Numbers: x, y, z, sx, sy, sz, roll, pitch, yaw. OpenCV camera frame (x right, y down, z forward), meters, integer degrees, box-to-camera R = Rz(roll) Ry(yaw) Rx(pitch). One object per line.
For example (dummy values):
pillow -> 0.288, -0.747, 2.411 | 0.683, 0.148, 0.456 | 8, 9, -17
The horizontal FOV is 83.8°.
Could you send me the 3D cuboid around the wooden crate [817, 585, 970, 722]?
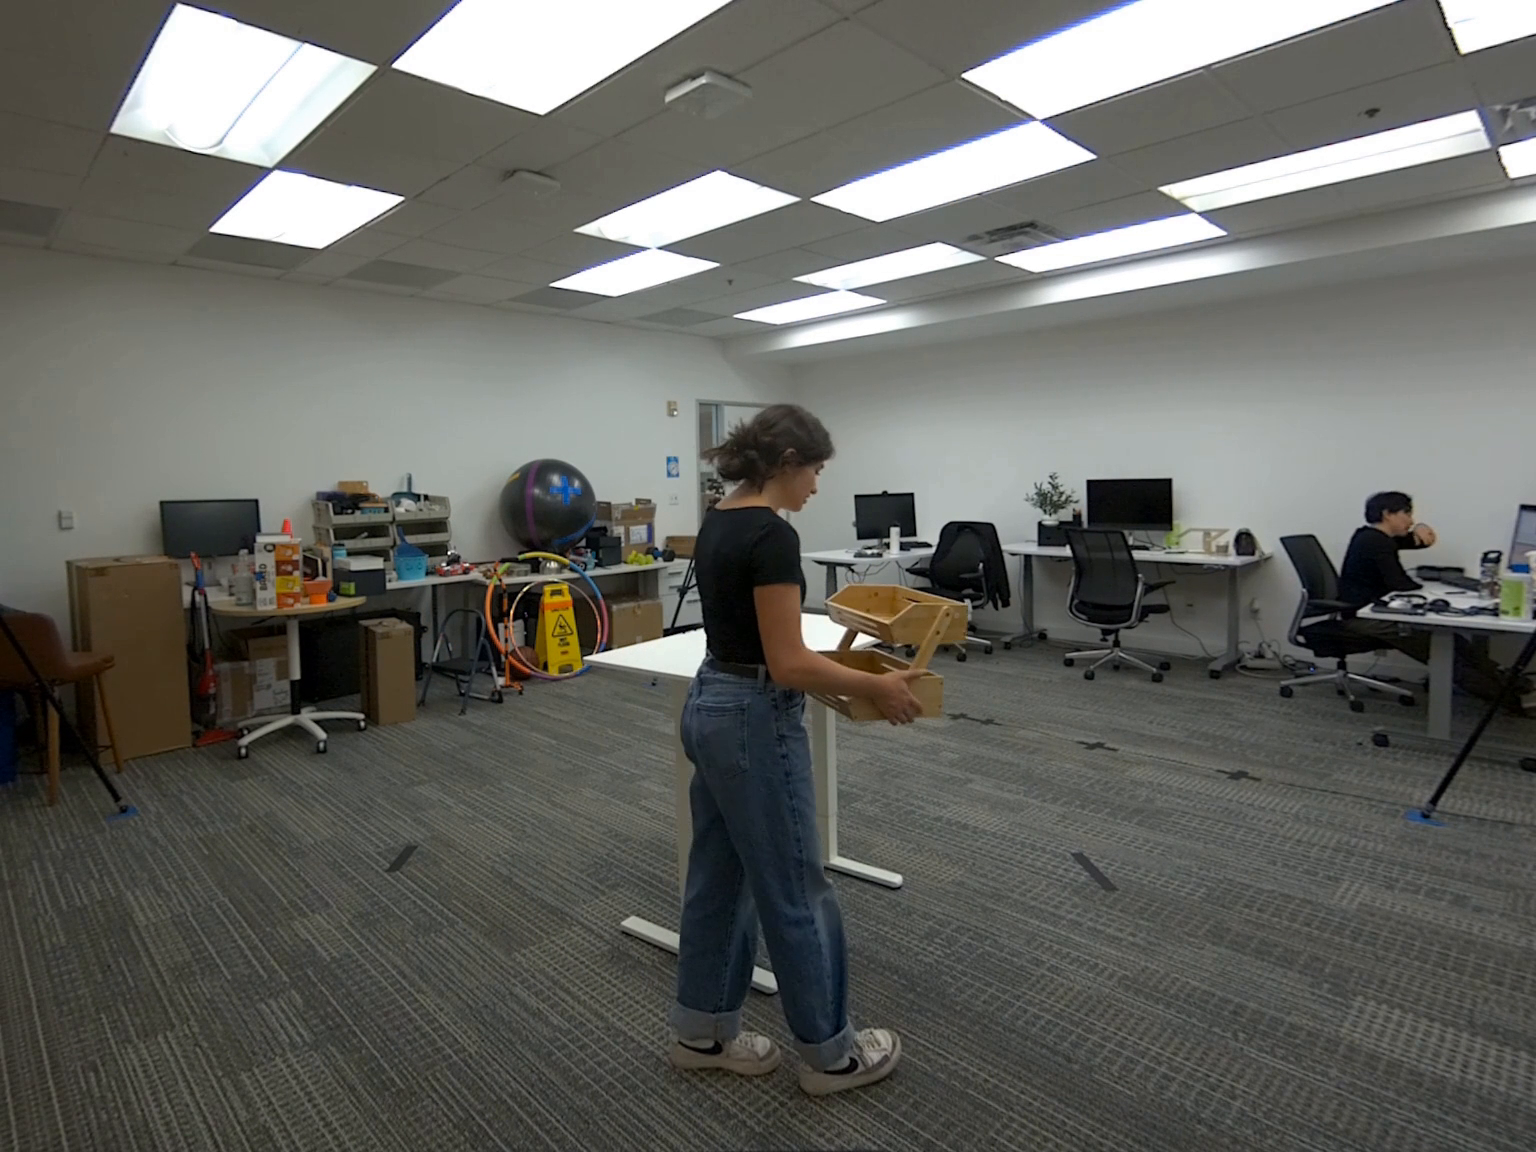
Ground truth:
wooden crate -> 0.253, 0.171, 2.042 | 0.295, 0.272, 0.333 | 1, 6, -25
